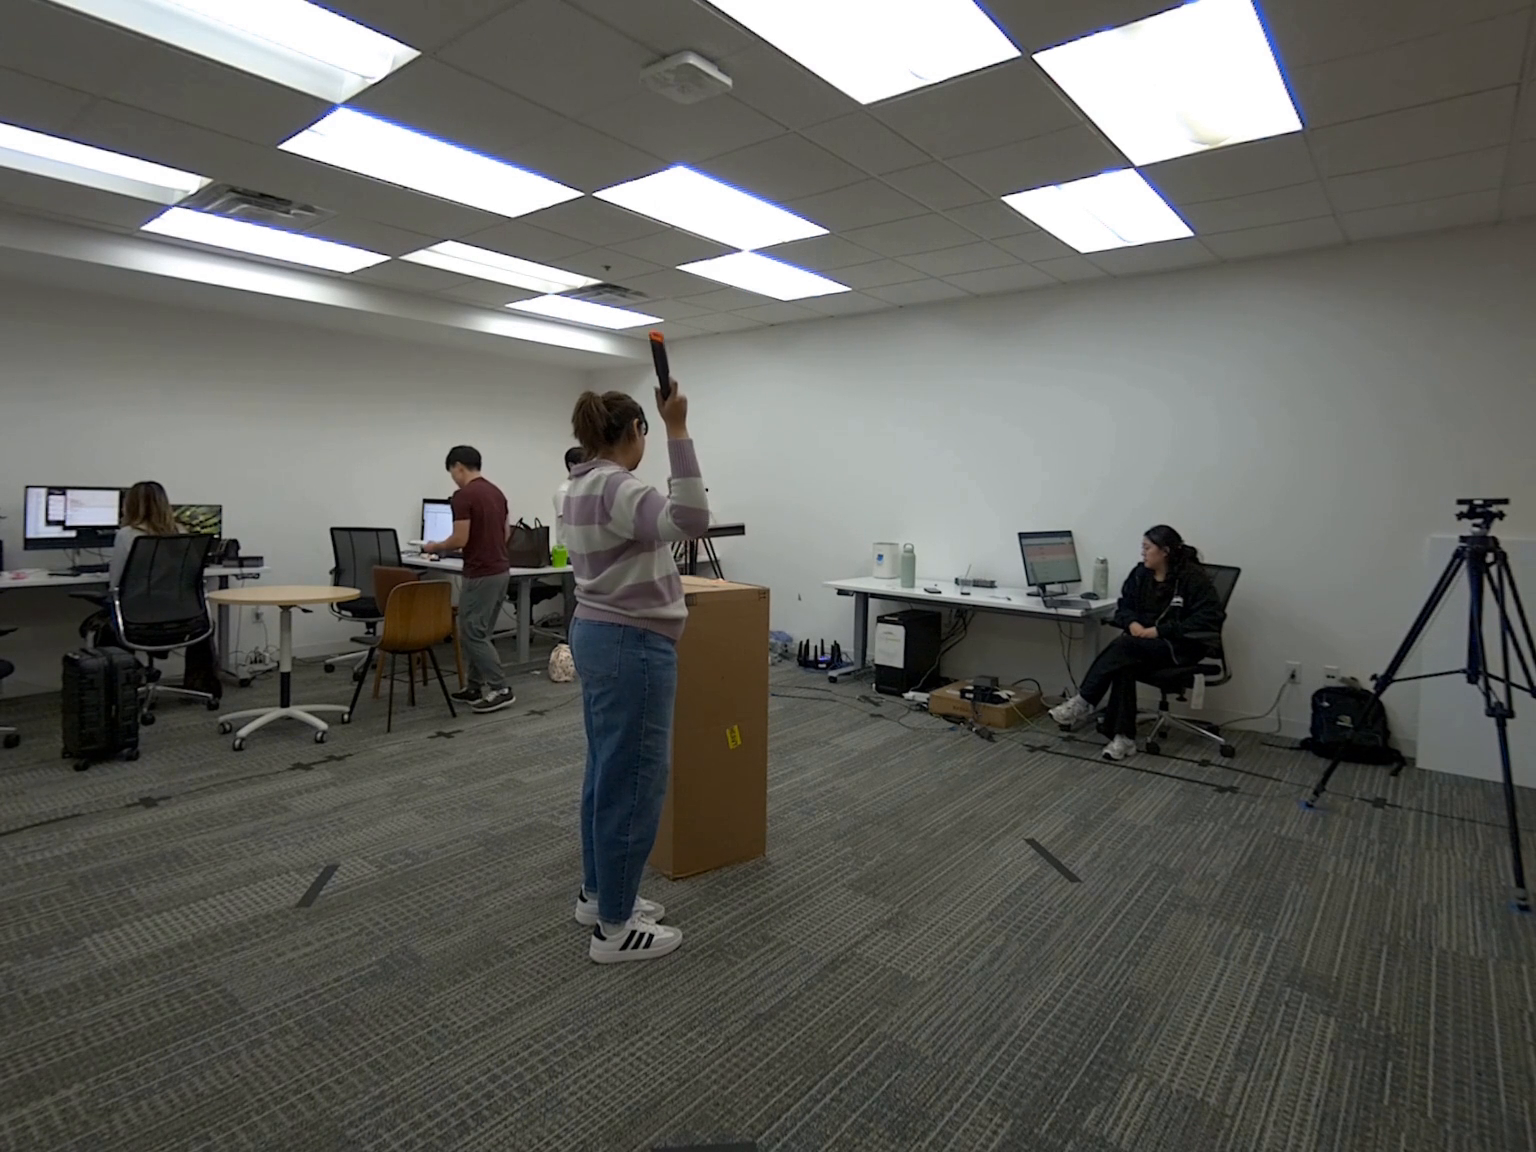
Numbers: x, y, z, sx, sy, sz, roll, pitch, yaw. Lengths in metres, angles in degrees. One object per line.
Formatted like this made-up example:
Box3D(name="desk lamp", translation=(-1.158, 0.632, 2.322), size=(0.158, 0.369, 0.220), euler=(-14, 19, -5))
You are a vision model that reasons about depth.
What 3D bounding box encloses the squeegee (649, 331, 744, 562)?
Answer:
Box3D(name="squeegee", translation=(-0.273, -0.342, 2.615), size=(0.436, 0.054, 1.515), euler=(-6, -15, -5))
